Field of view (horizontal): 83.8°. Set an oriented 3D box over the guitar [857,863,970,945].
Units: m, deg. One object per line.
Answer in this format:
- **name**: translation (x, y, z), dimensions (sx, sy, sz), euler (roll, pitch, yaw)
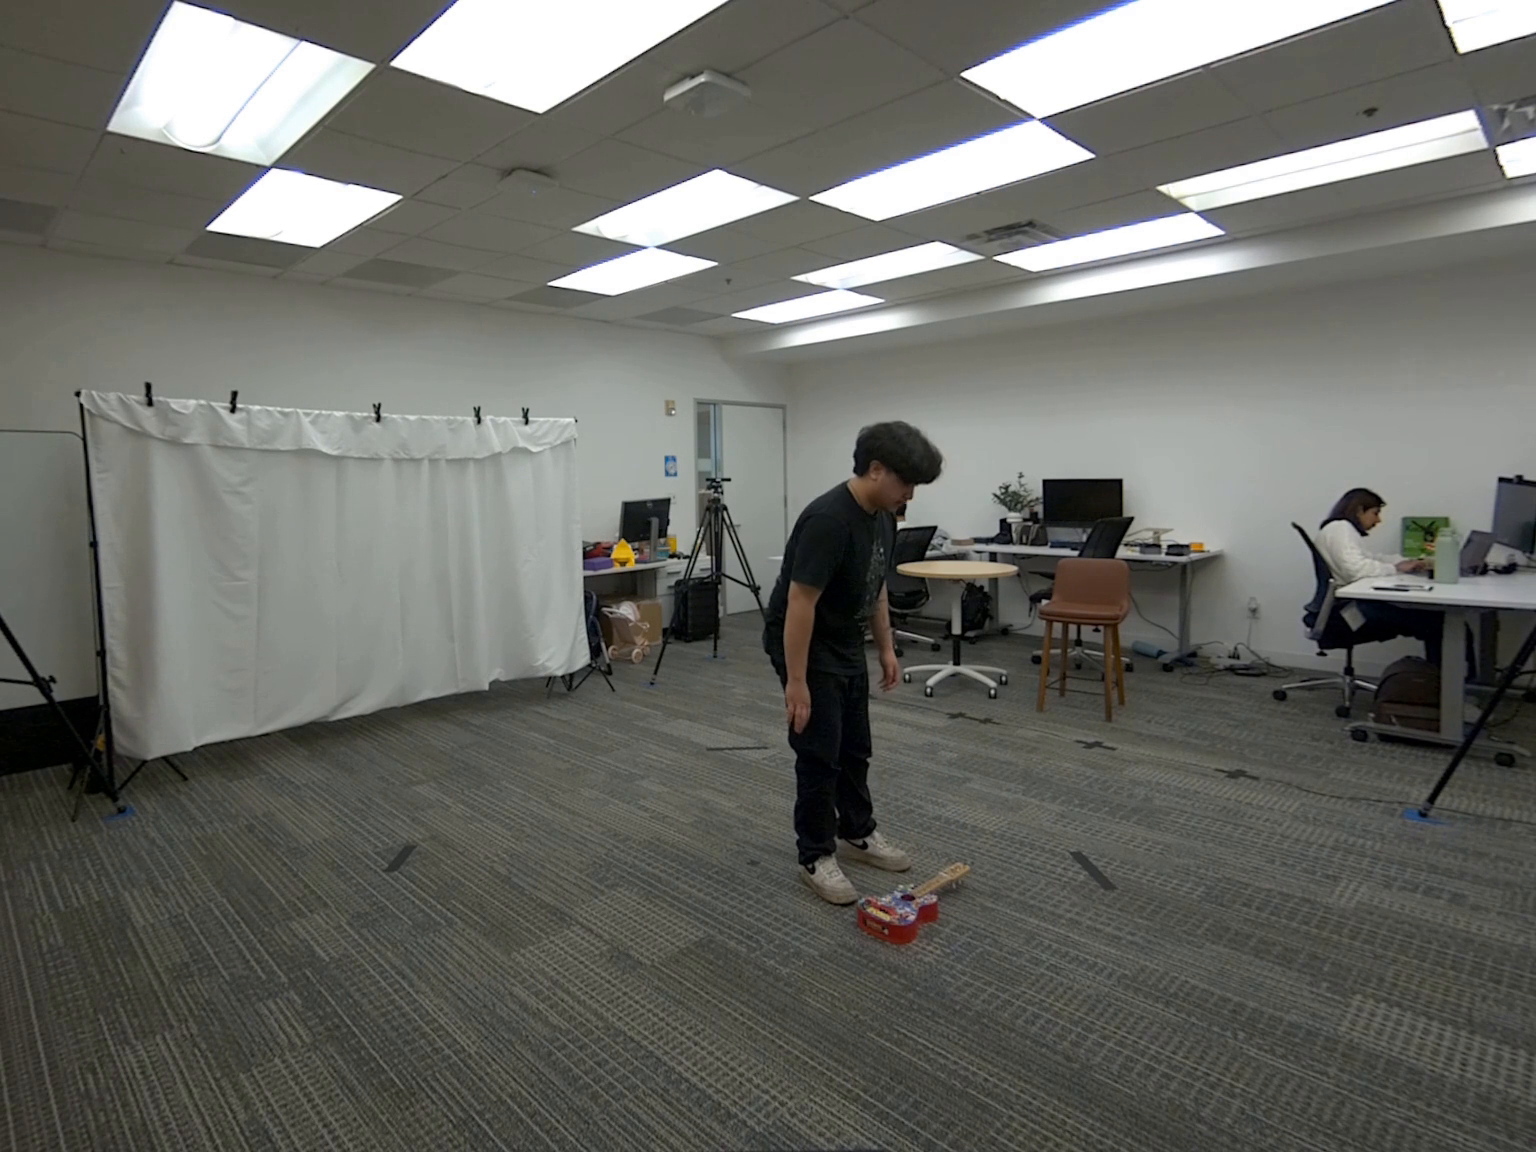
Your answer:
- **guitar**: translation (0.512, 1.033, 2.737), dimensions (0.486, 0.070, 0.199), euler (-6, 8, -33)
